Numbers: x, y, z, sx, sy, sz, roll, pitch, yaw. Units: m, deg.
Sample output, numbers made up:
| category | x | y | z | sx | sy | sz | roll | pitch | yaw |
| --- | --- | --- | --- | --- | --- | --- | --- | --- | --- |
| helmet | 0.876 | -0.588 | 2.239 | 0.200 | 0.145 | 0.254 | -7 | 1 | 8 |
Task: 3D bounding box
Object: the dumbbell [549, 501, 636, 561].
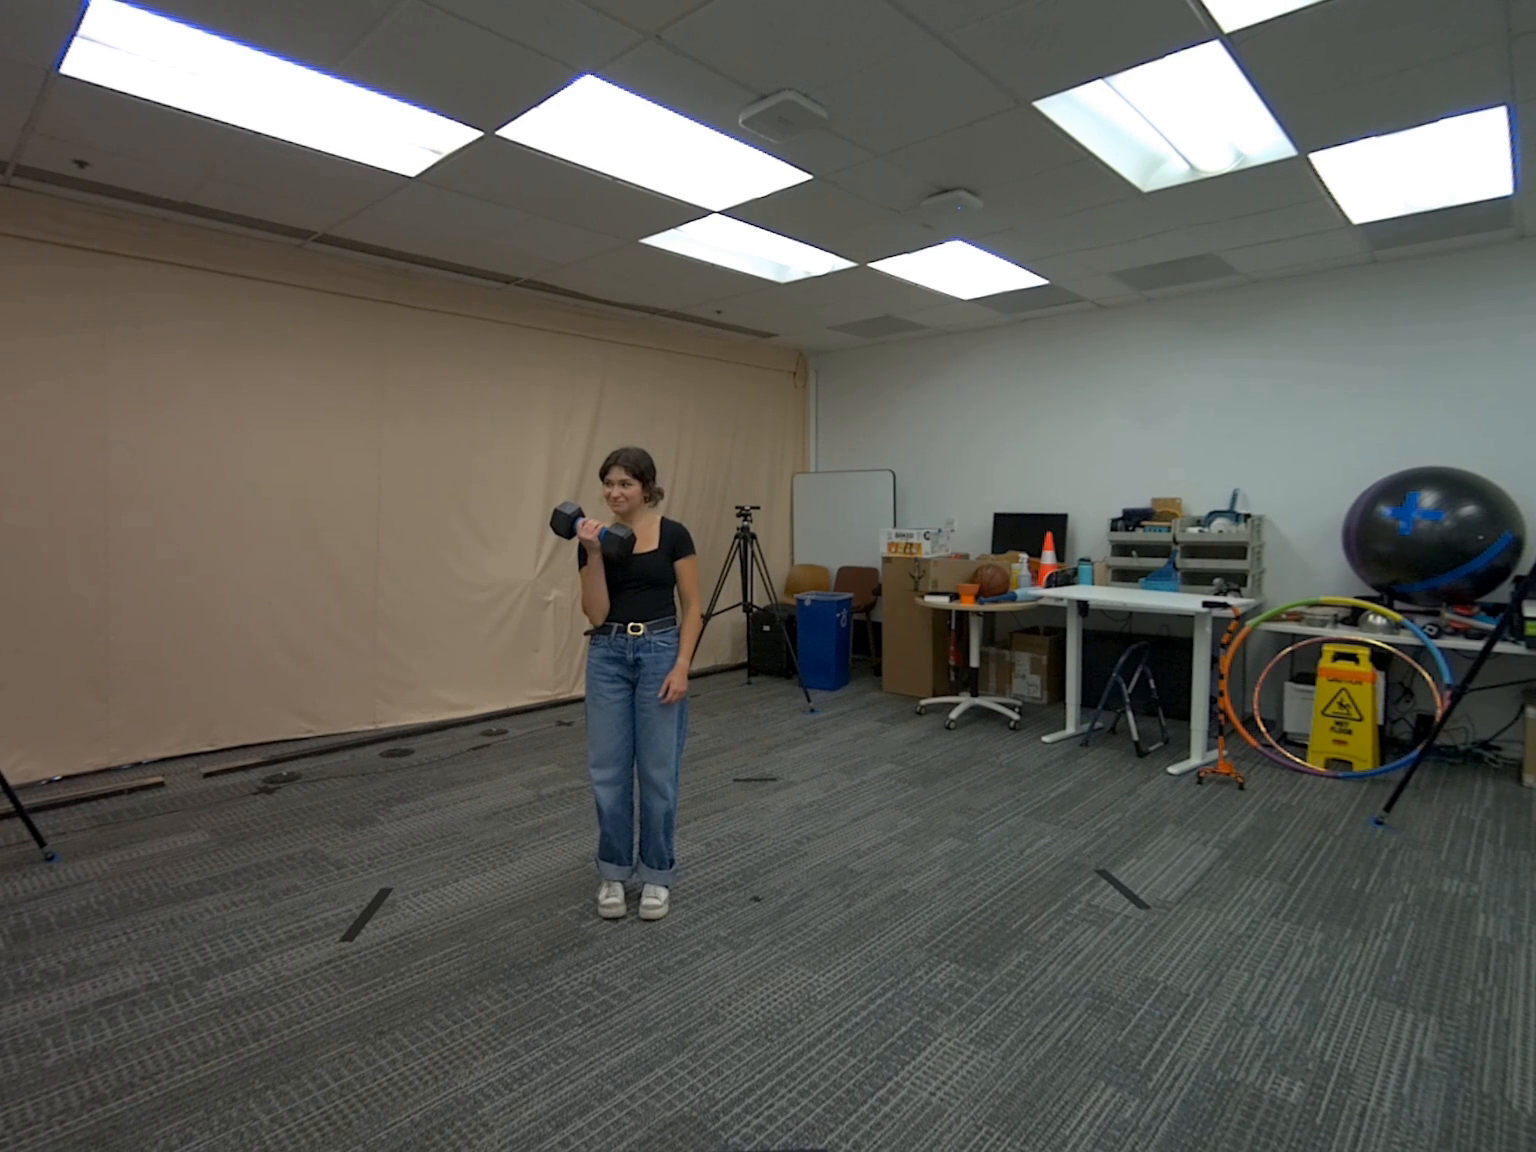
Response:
| category | x | y | z | sx | sy | sz | roll | pitch | yaw |
| --- | --- | --- | --- | --- | --- | --- | --- | --- | --- |
| dumbbell | -0.596 | -0.148 | 2.823 | 0.300 | 0.123 | 0.106 | 22 | 6 | 18 |
